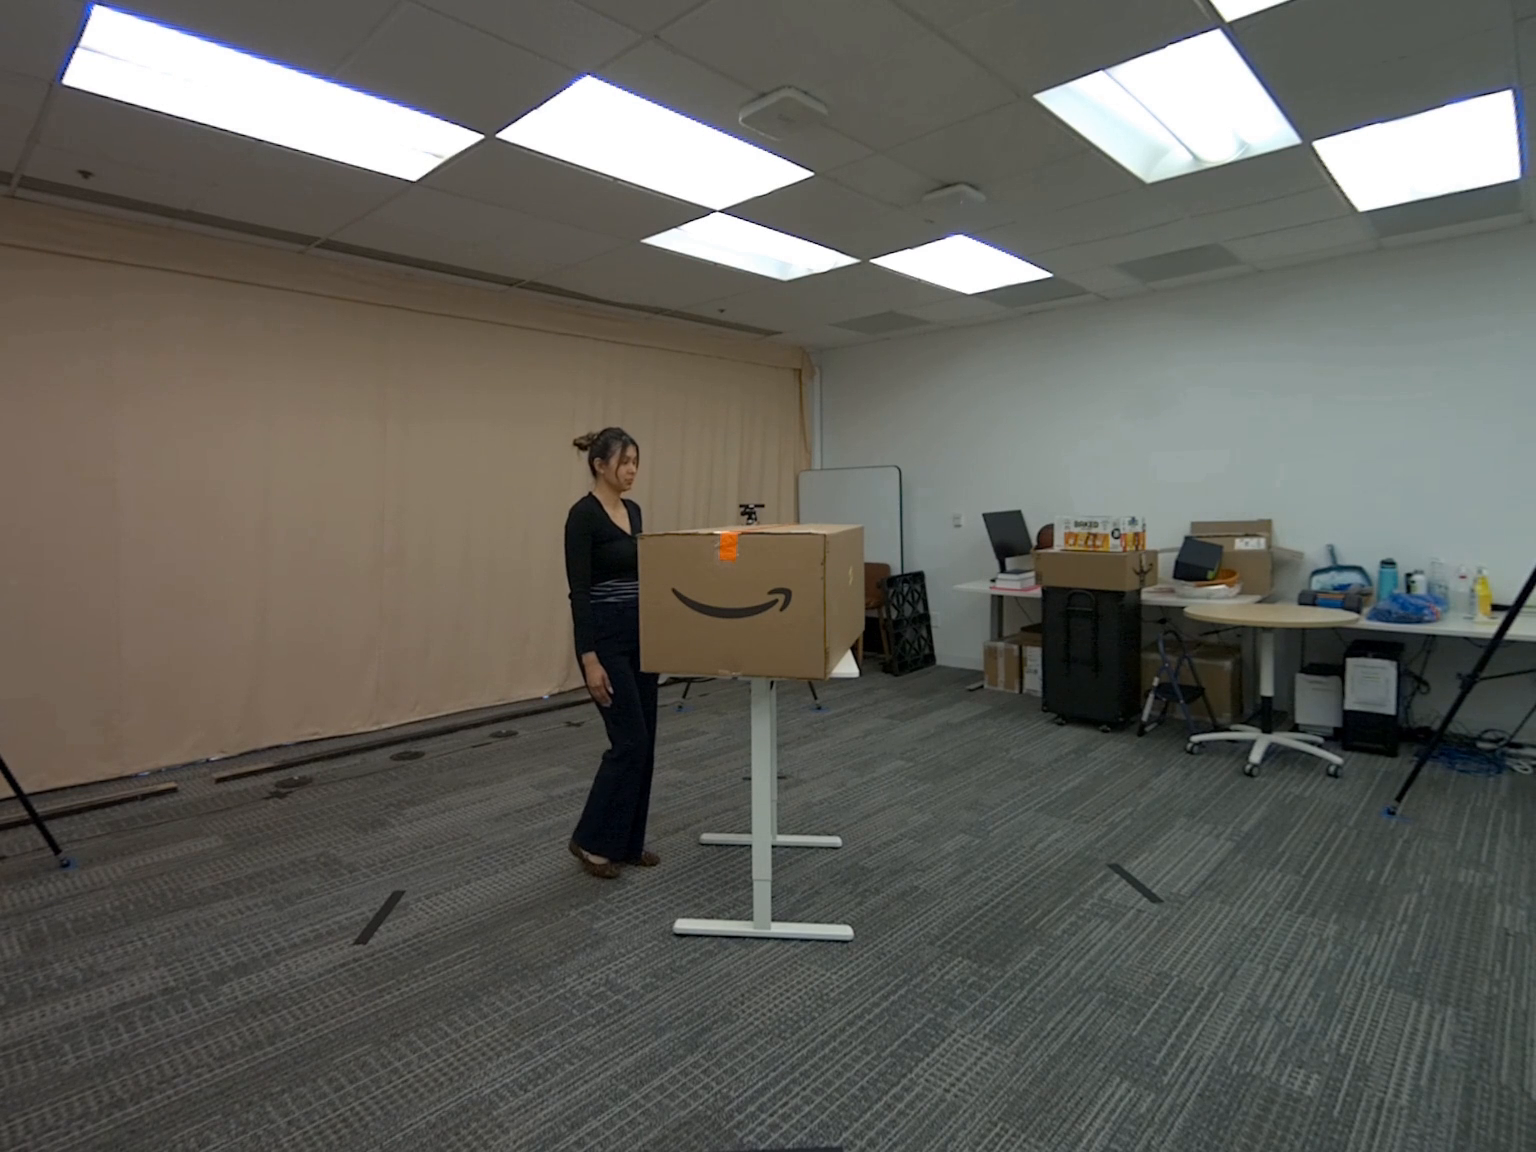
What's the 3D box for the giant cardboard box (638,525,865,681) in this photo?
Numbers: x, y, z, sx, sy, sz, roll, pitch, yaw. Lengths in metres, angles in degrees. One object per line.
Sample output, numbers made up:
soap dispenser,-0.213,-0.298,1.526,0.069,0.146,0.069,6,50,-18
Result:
giant cardboard box,-0.002,0.044,2.970,0.587,0.425,1.011,0,4,14
